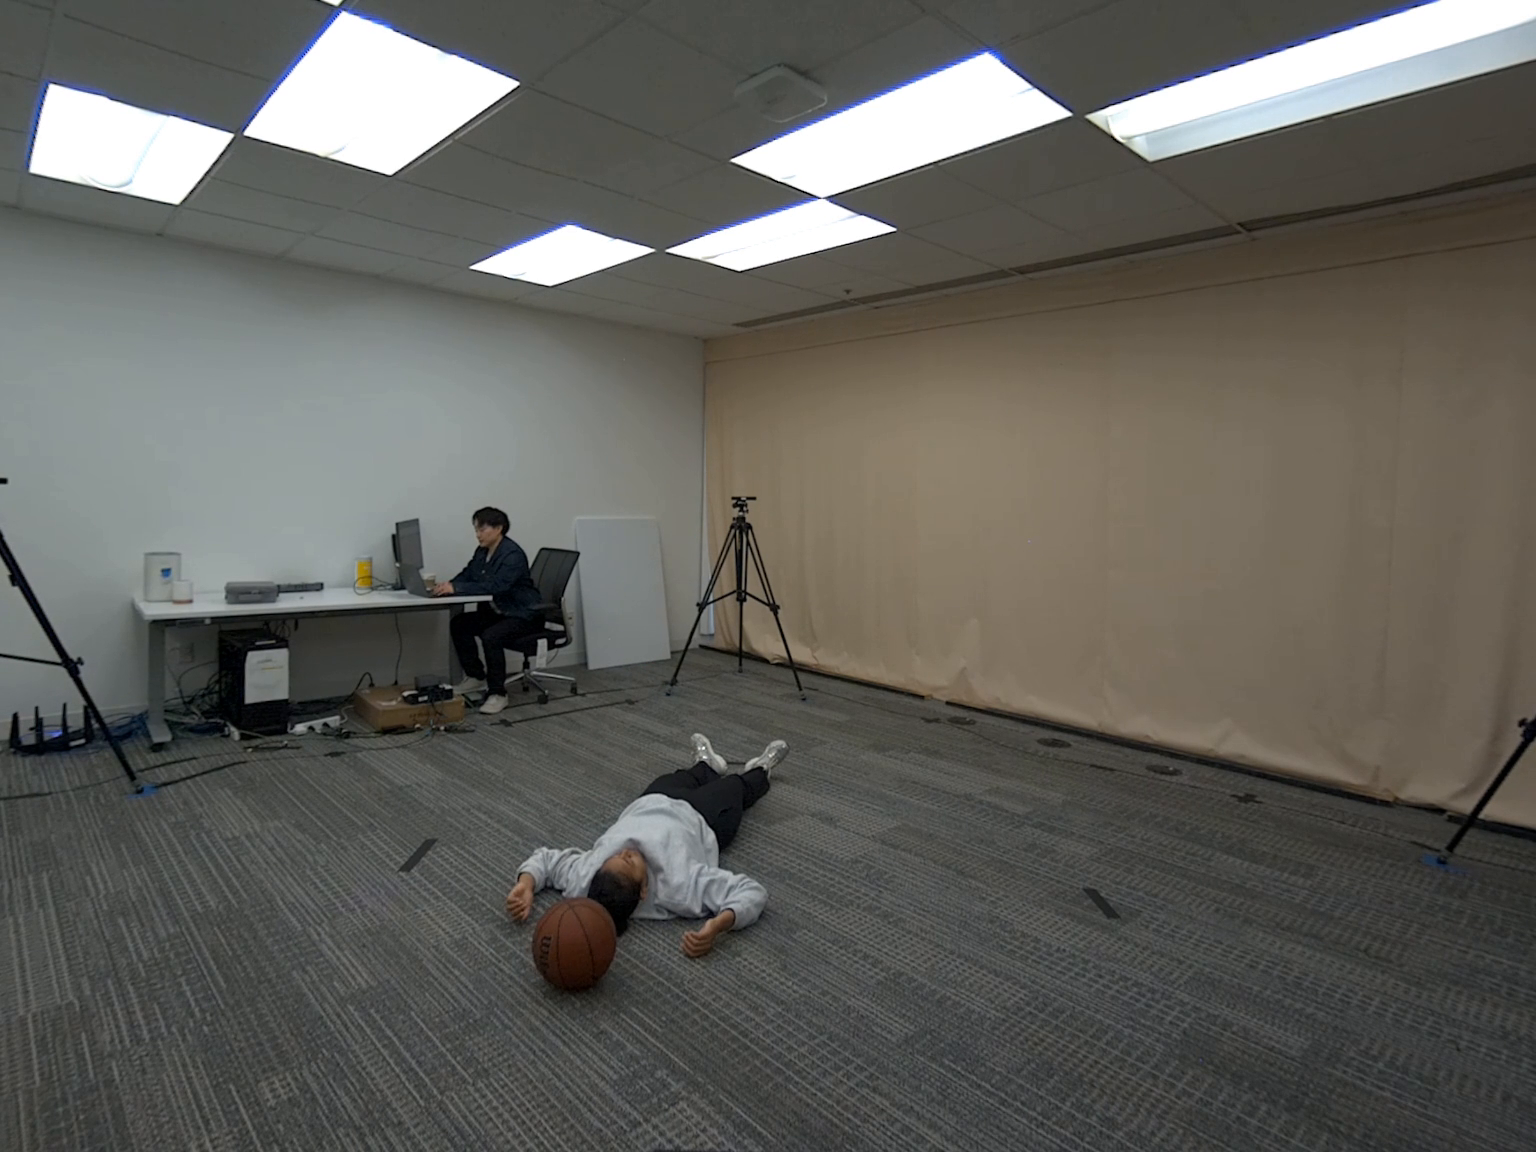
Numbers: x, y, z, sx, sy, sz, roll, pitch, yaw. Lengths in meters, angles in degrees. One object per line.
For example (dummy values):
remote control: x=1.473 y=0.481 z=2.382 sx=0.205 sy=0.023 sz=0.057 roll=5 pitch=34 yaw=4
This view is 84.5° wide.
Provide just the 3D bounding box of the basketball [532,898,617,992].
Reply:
basketball: x=-0.554 y=1.044 z=2.388 sx=0.236 sy=0.235 sz=0.237 roll=1 pitch=5 yaw=-1
